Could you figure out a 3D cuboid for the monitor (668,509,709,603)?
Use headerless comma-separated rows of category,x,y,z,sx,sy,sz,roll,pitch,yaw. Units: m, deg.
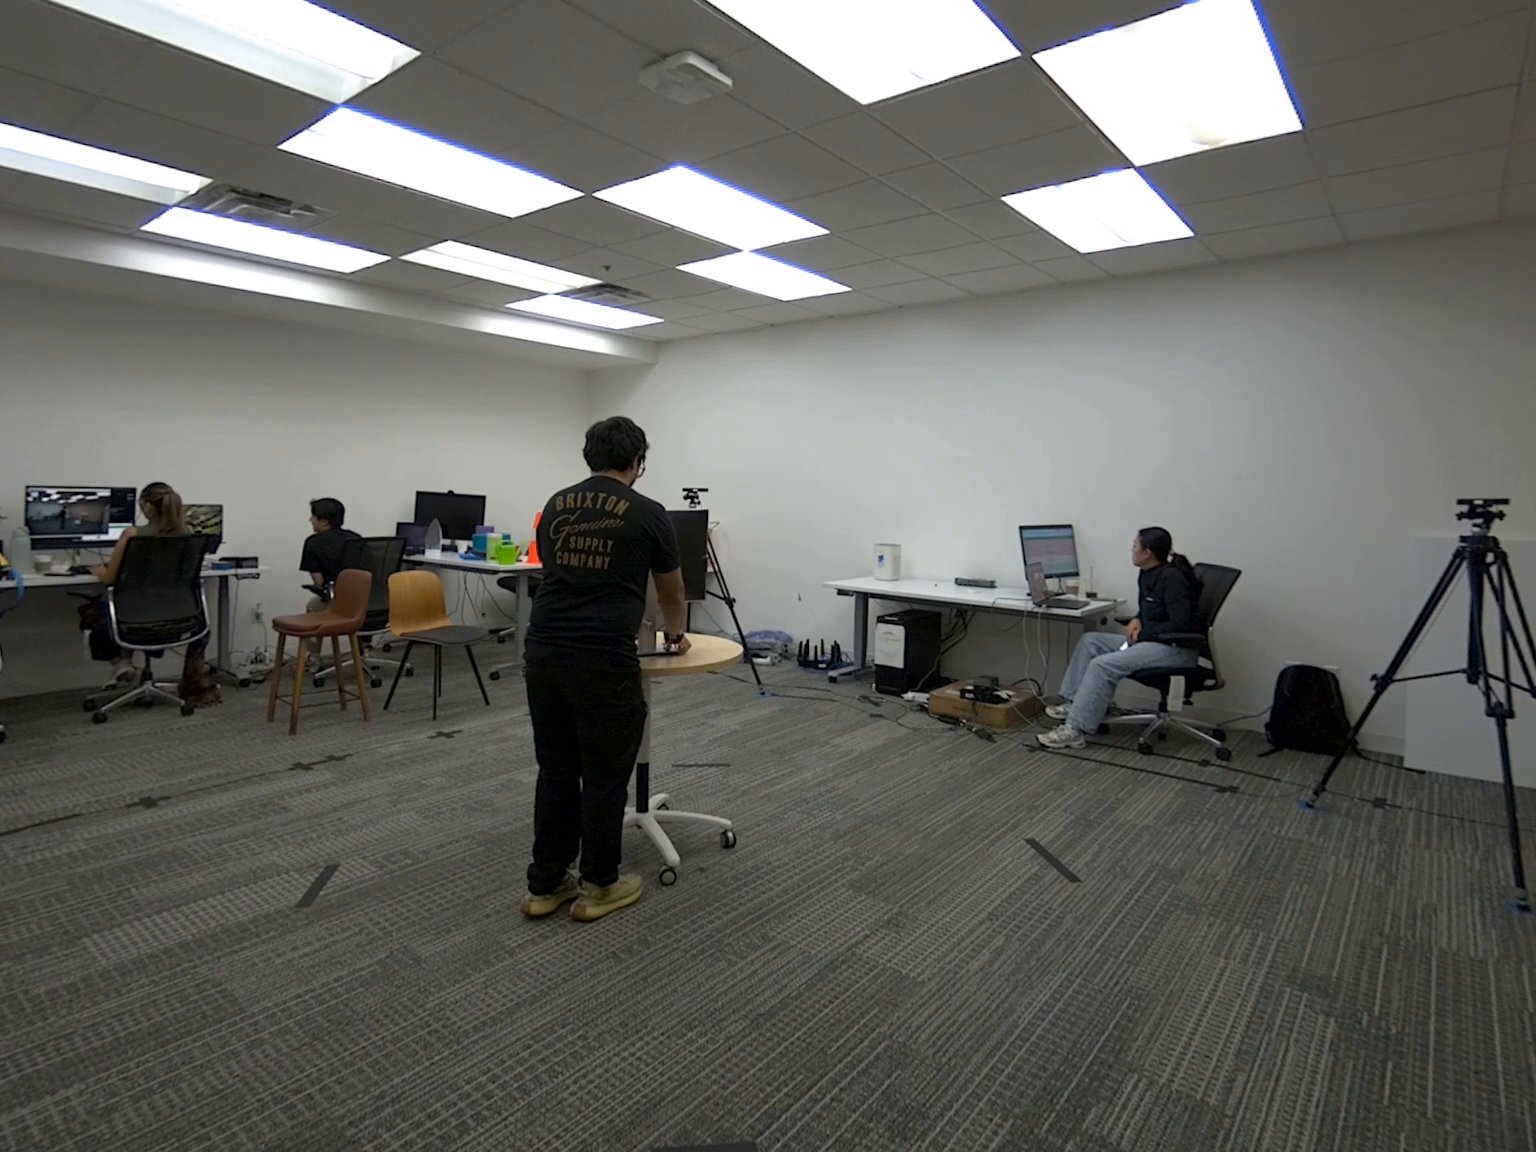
monitor,-0.467,0.020,3.151,0.552,0.552,0.216,-1,5,-26
